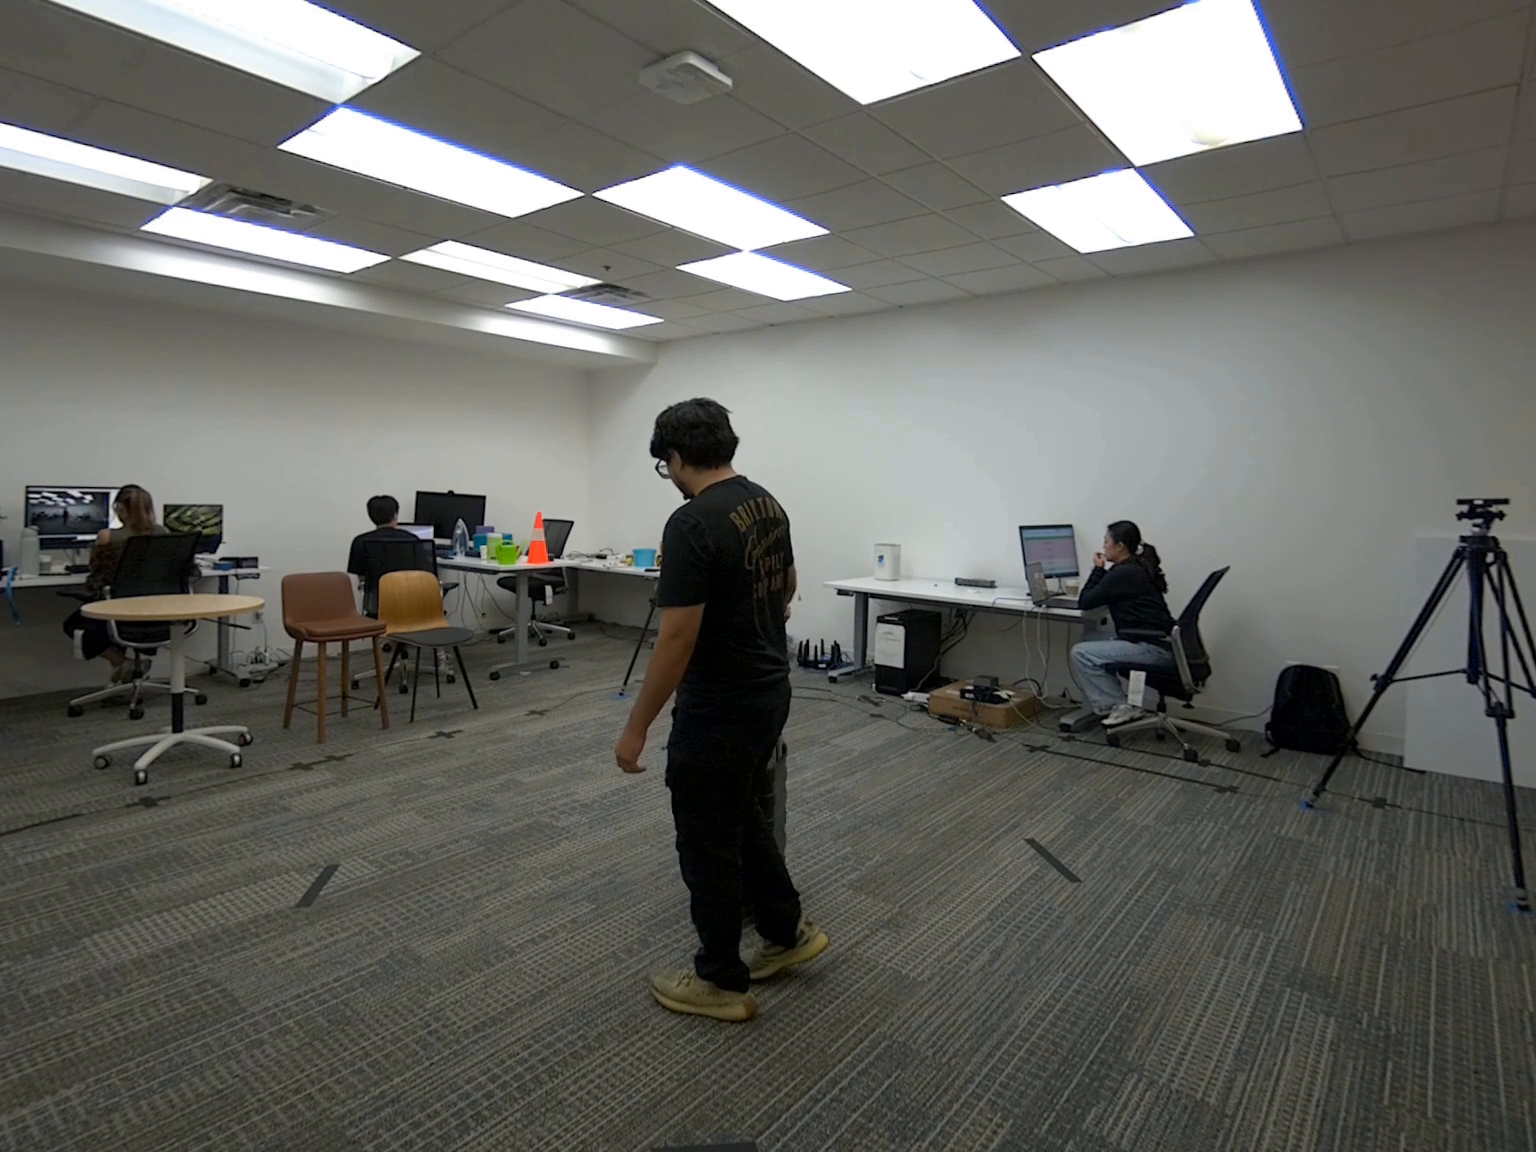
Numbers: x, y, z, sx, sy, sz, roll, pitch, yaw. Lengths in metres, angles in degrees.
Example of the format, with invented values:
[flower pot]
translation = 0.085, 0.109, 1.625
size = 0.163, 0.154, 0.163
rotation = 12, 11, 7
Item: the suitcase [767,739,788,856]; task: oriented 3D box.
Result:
[suitcase]
translation = -0.094, 0.614, 2.852
size = 0.260, 0.975, 0.381
rotation = 0, 3, 9
